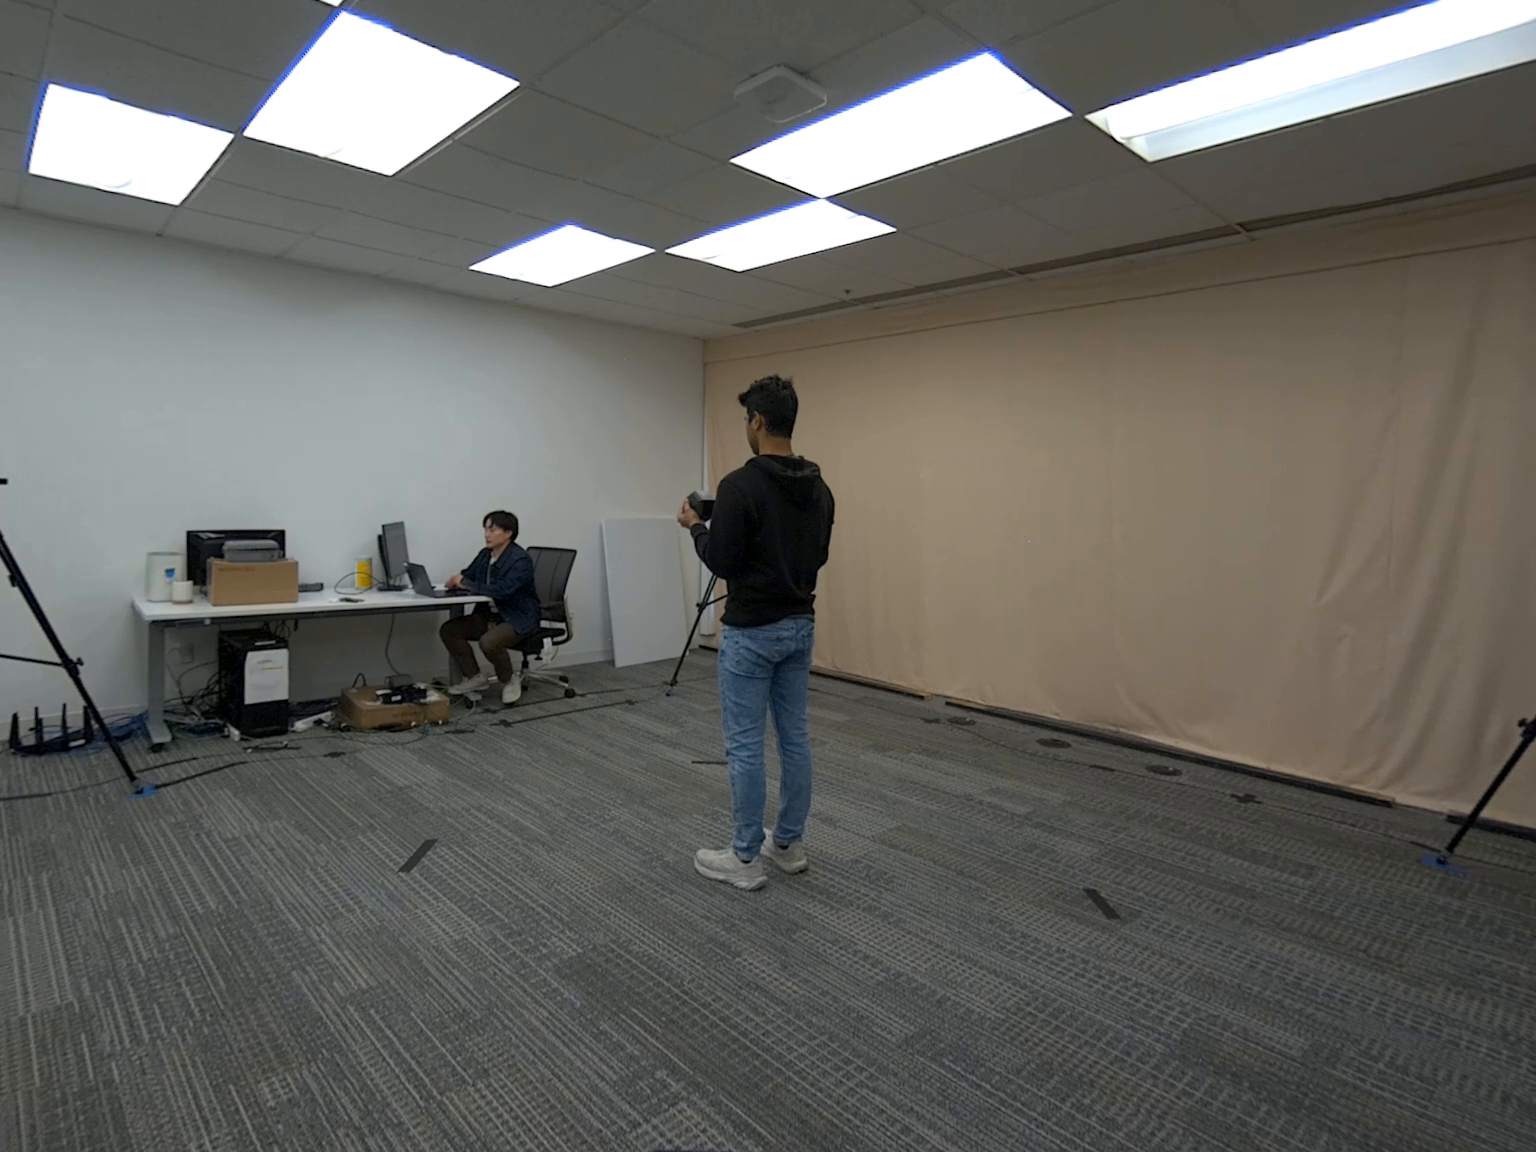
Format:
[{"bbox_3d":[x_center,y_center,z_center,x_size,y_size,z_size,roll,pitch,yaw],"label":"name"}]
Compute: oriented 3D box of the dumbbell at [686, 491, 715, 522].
[{"bbox_3d":[-0.166,-0.259,3.251,0.287,0.110,0.124,-3,-18,-40],"label":"dumbbell"}]
